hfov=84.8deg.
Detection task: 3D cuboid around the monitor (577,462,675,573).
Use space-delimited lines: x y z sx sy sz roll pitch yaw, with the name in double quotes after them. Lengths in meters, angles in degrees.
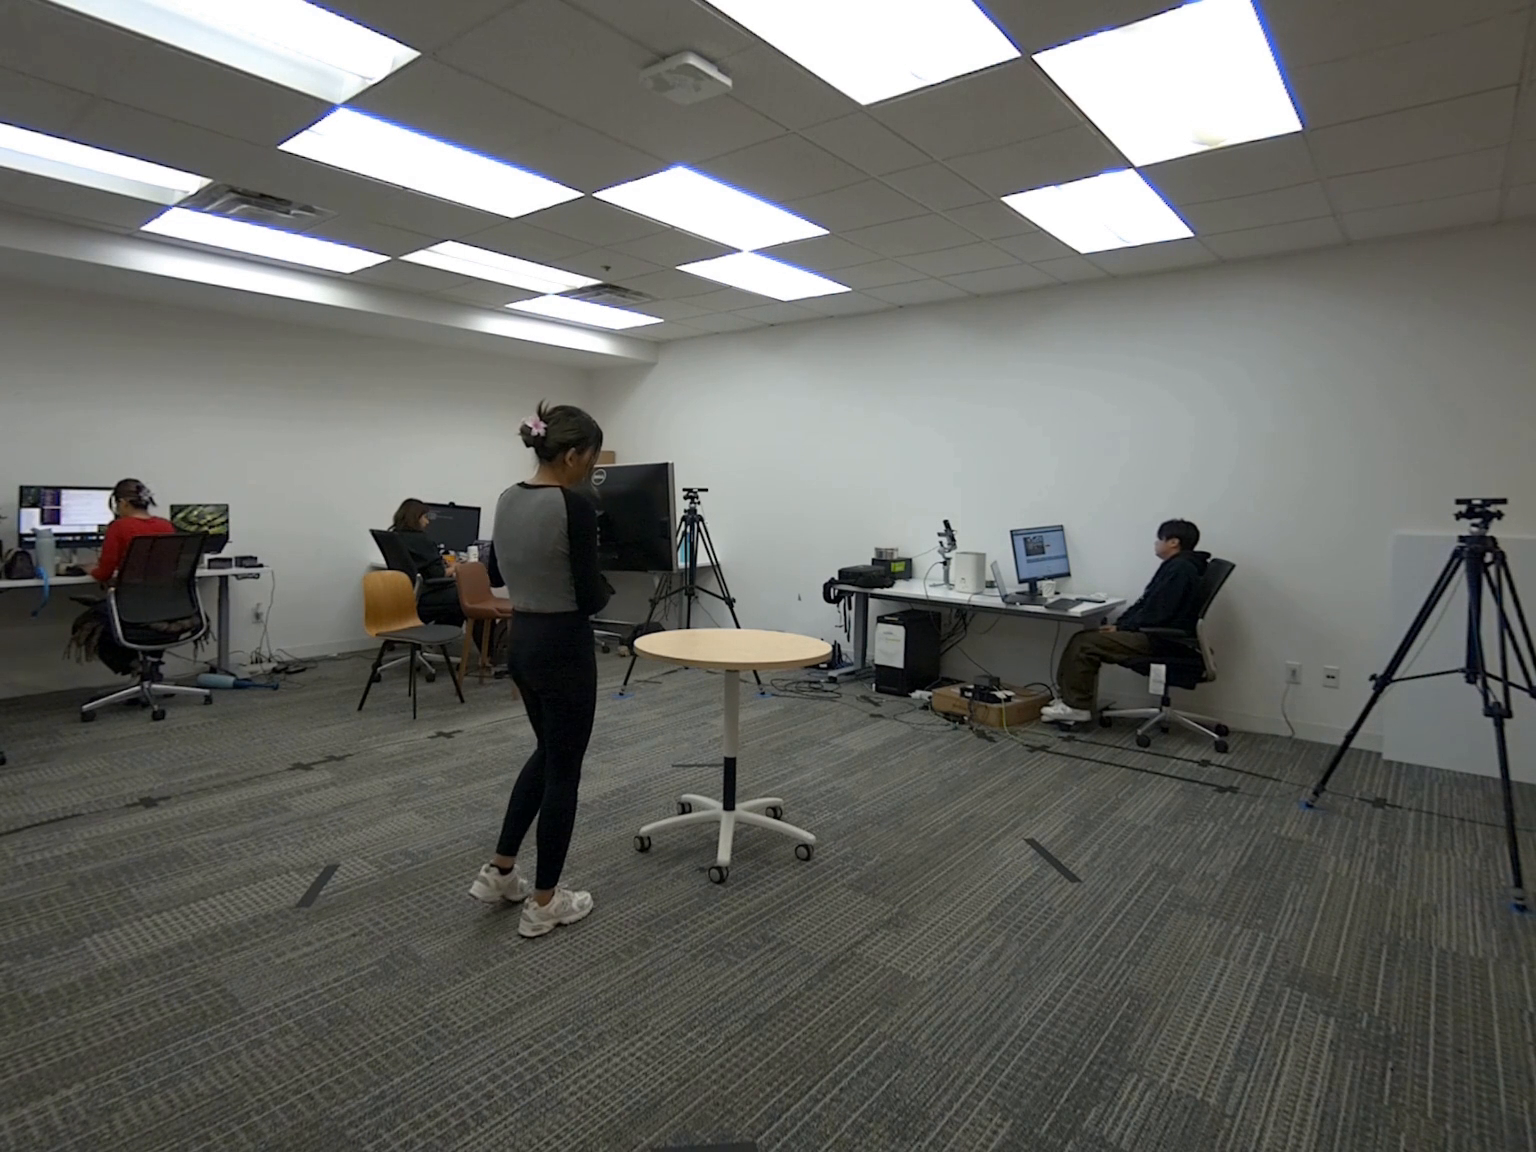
-0.580 -0.112 2.882 0.554 0.525 0.181 1 -6 29 "monitor"
